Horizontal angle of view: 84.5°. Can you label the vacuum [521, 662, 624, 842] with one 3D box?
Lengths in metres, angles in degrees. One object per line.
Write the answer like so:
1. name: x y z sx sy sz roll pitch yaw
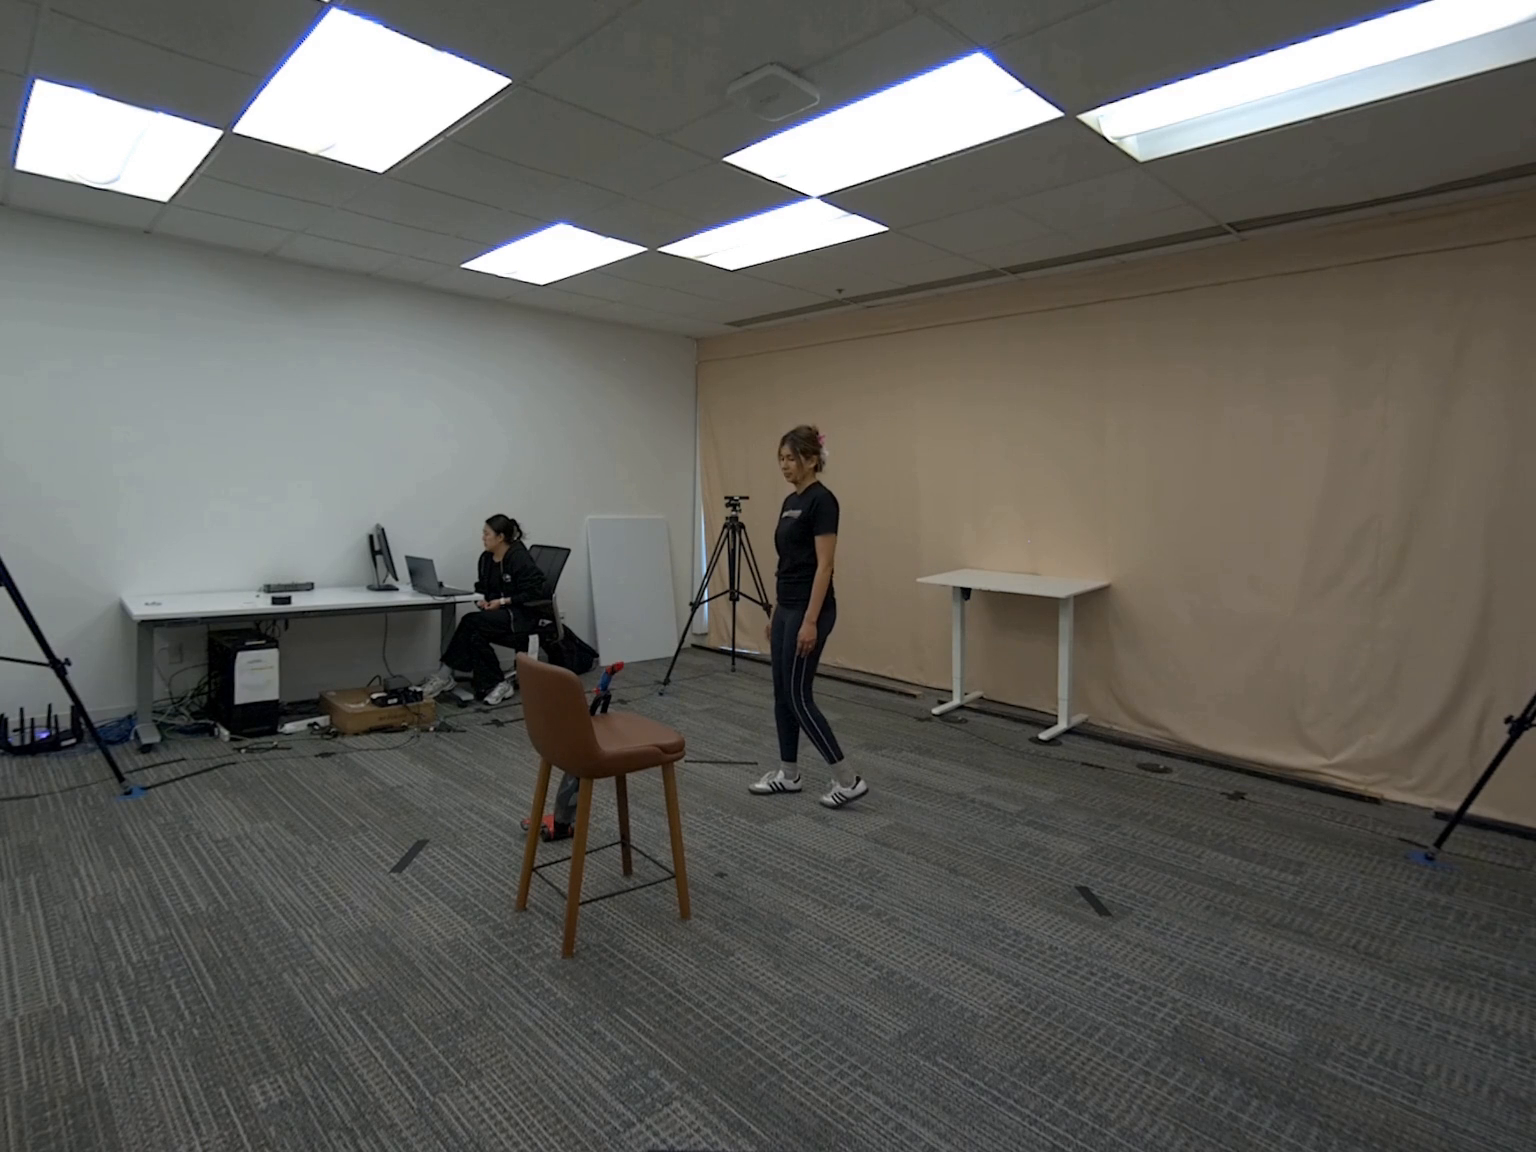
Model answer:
1. vacuum: -0.701 0.669 3.145 0.247 1.040 0.148 -4 47 -35
